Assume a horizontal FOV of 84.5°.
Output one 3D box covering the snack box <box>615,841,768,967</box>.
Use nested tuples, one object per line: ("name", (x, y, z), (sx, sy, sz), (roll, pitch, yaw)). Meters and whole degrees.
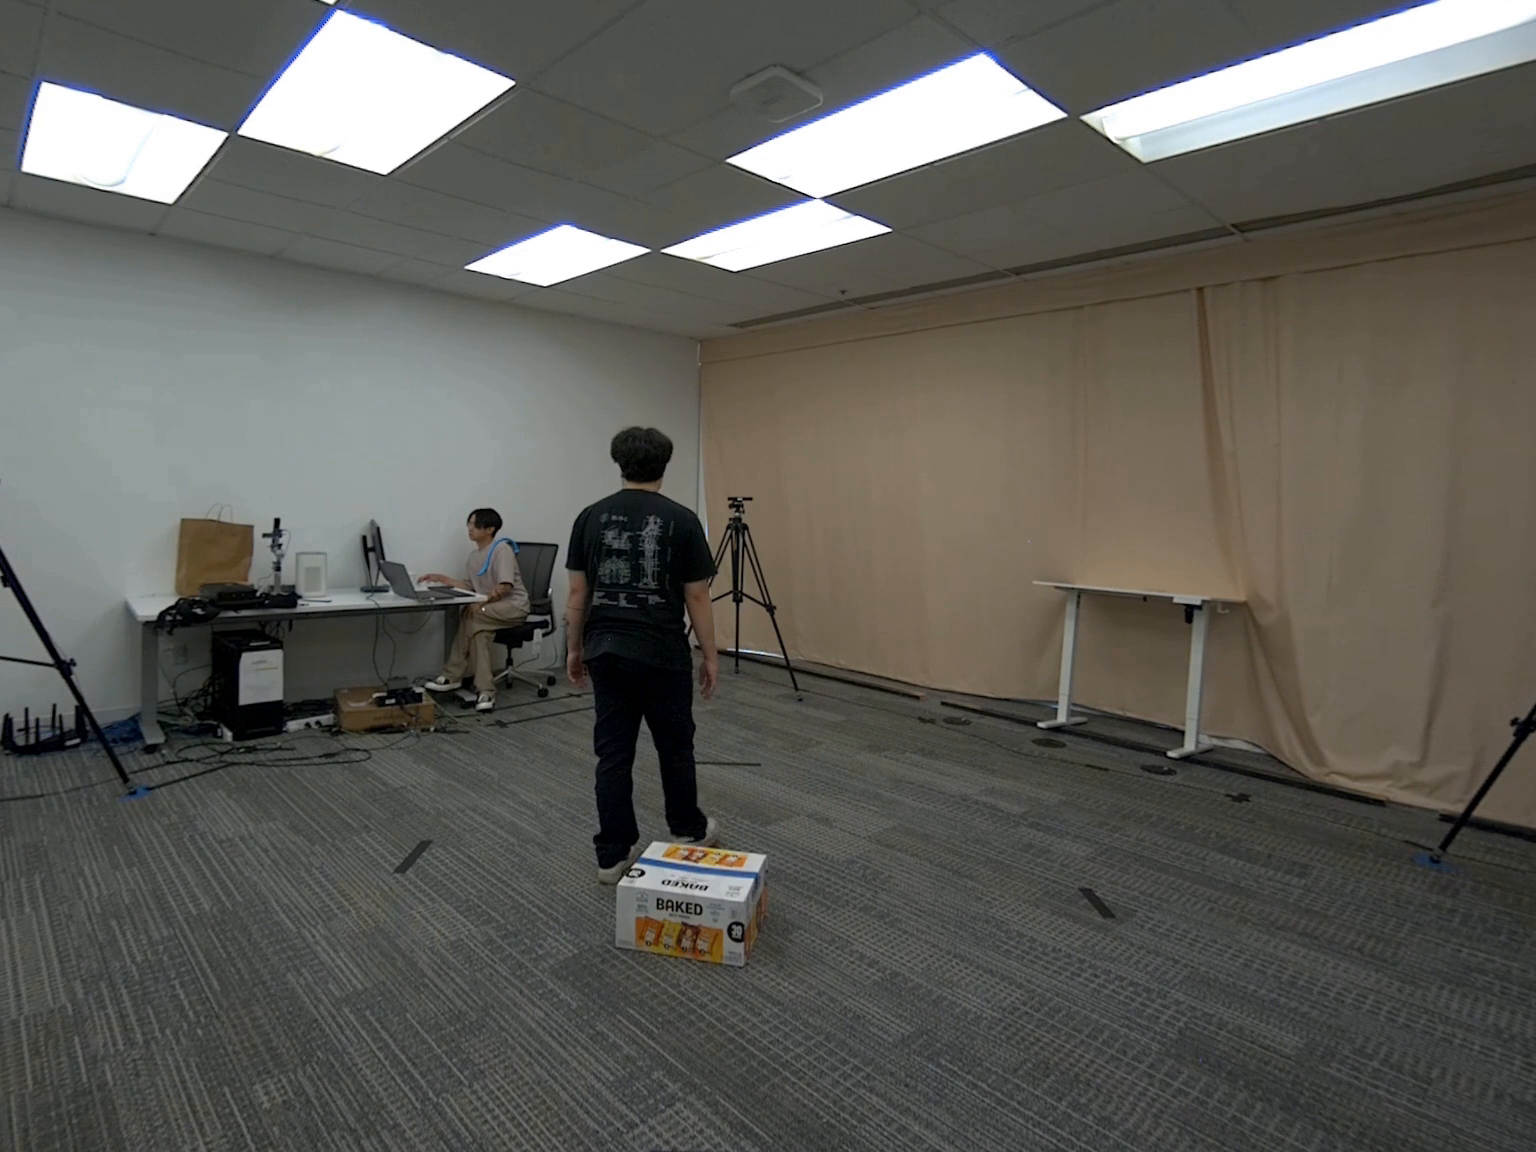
("snack box", (-0.239, 1.040, 2.693), (0.409, 0.205, 0.337), (3, 4, 12))
